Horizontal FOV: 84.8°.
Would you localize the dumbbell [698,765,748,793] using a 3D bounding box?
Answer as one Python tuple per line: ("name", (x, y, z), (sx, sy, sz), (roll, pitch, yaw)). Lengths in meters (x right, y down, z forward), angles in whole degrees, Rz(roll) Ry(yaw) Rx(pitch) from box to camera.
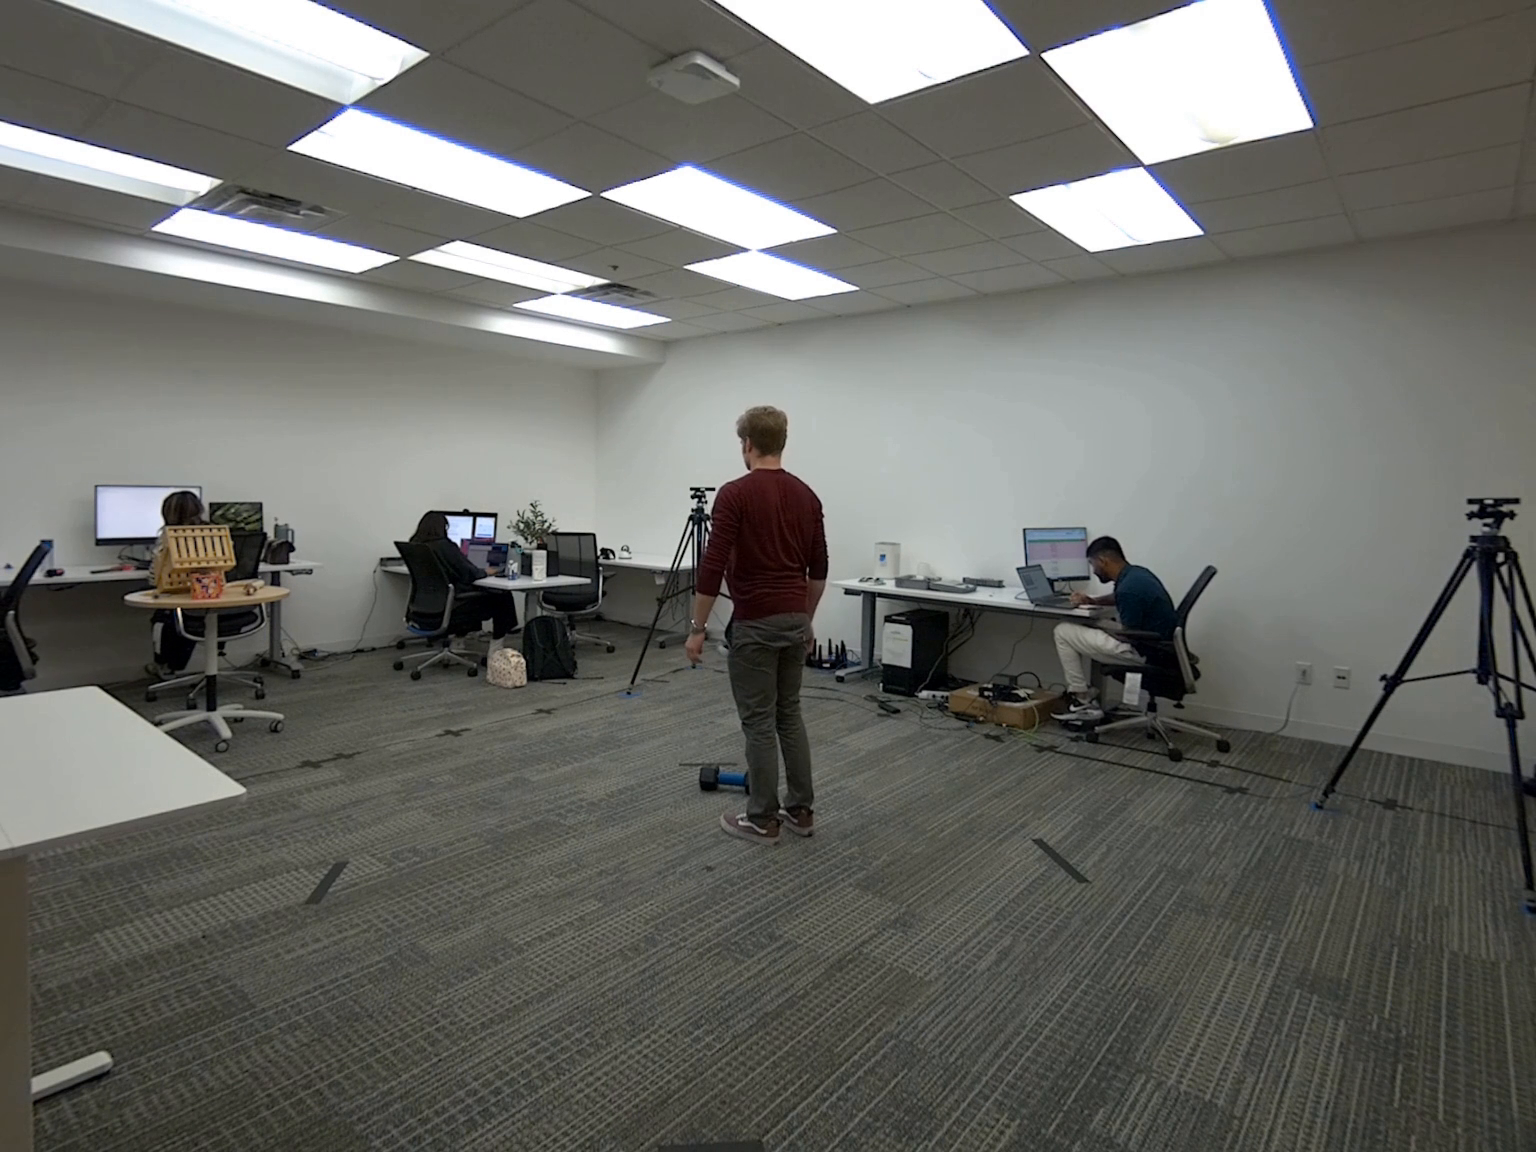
("dumbbell", (-0.175, 0.932, 3.925), (0.297, 0.125, 0.105), (2, -26, 11))
